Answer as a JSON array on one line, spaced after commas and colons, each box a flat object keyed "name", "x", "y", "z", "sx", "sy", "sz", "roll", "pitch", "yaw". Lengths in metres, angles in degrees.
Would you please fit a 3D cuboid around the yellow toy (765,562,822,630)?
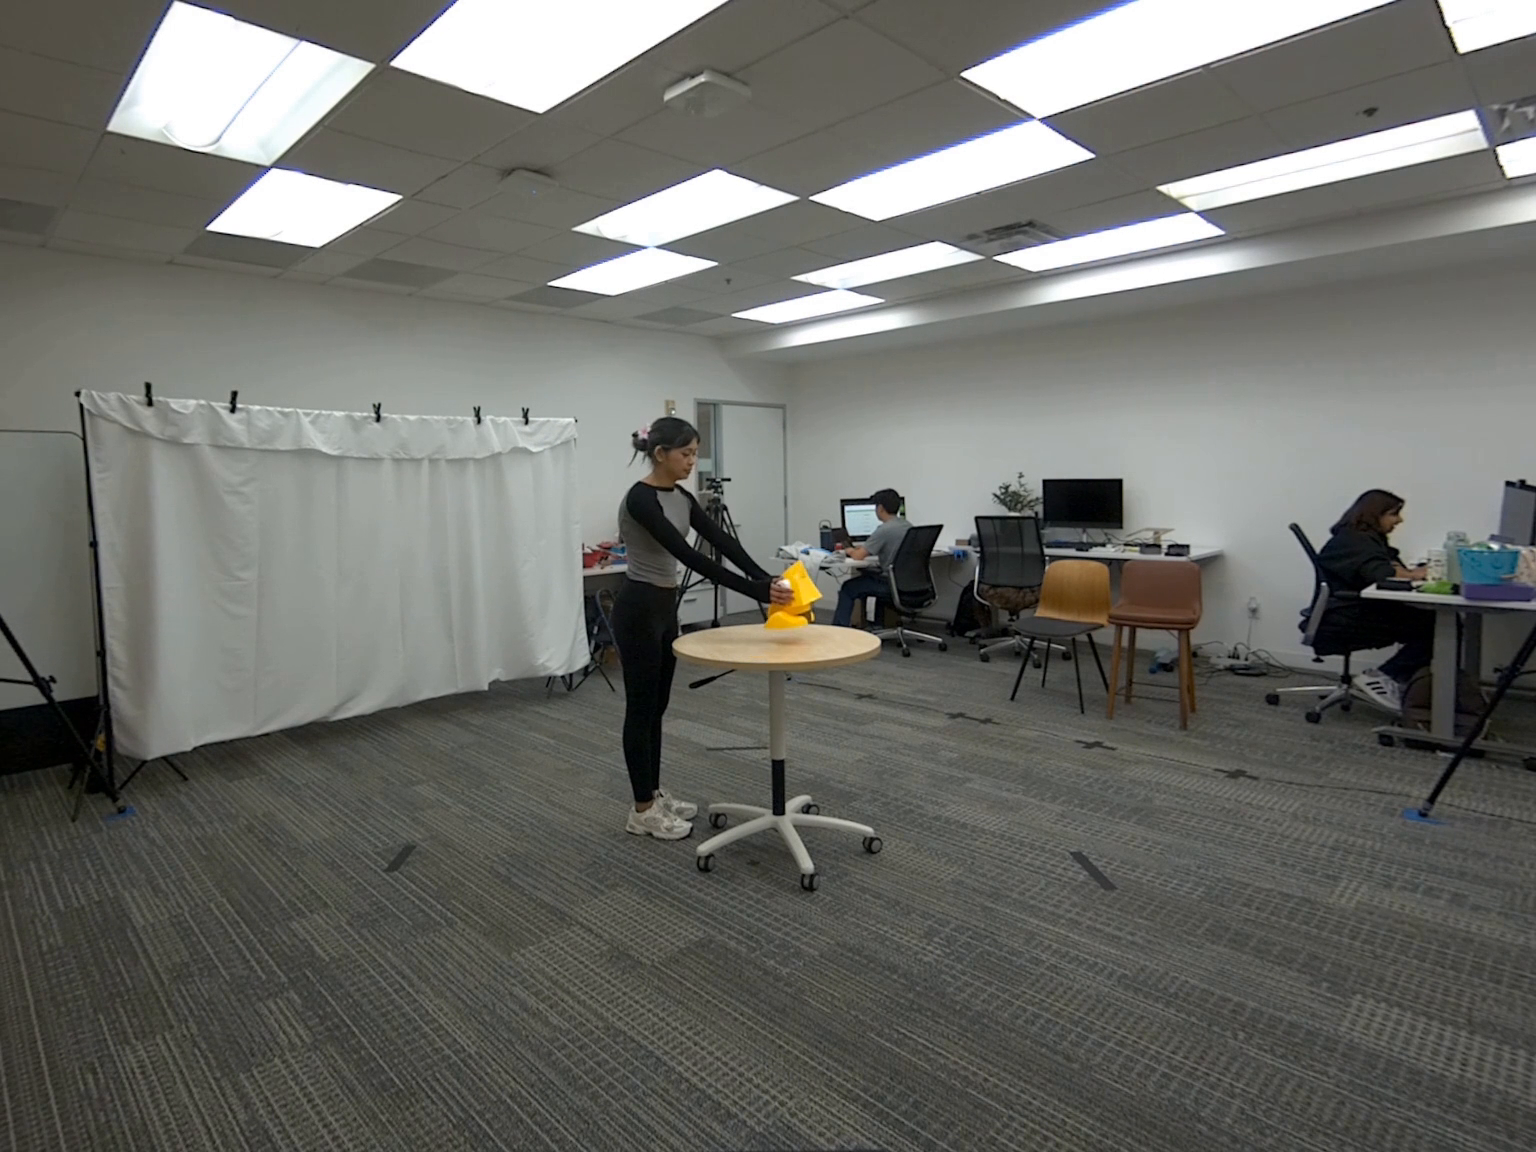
[{"name": "yellow toy", "x": 0.076, "y": 0.064, "z": 3.143, "sx": 0.197, "sy": 0.230, "sz": 0.201, "roll": -5, "pitch": 3, "yaw": 24}]
